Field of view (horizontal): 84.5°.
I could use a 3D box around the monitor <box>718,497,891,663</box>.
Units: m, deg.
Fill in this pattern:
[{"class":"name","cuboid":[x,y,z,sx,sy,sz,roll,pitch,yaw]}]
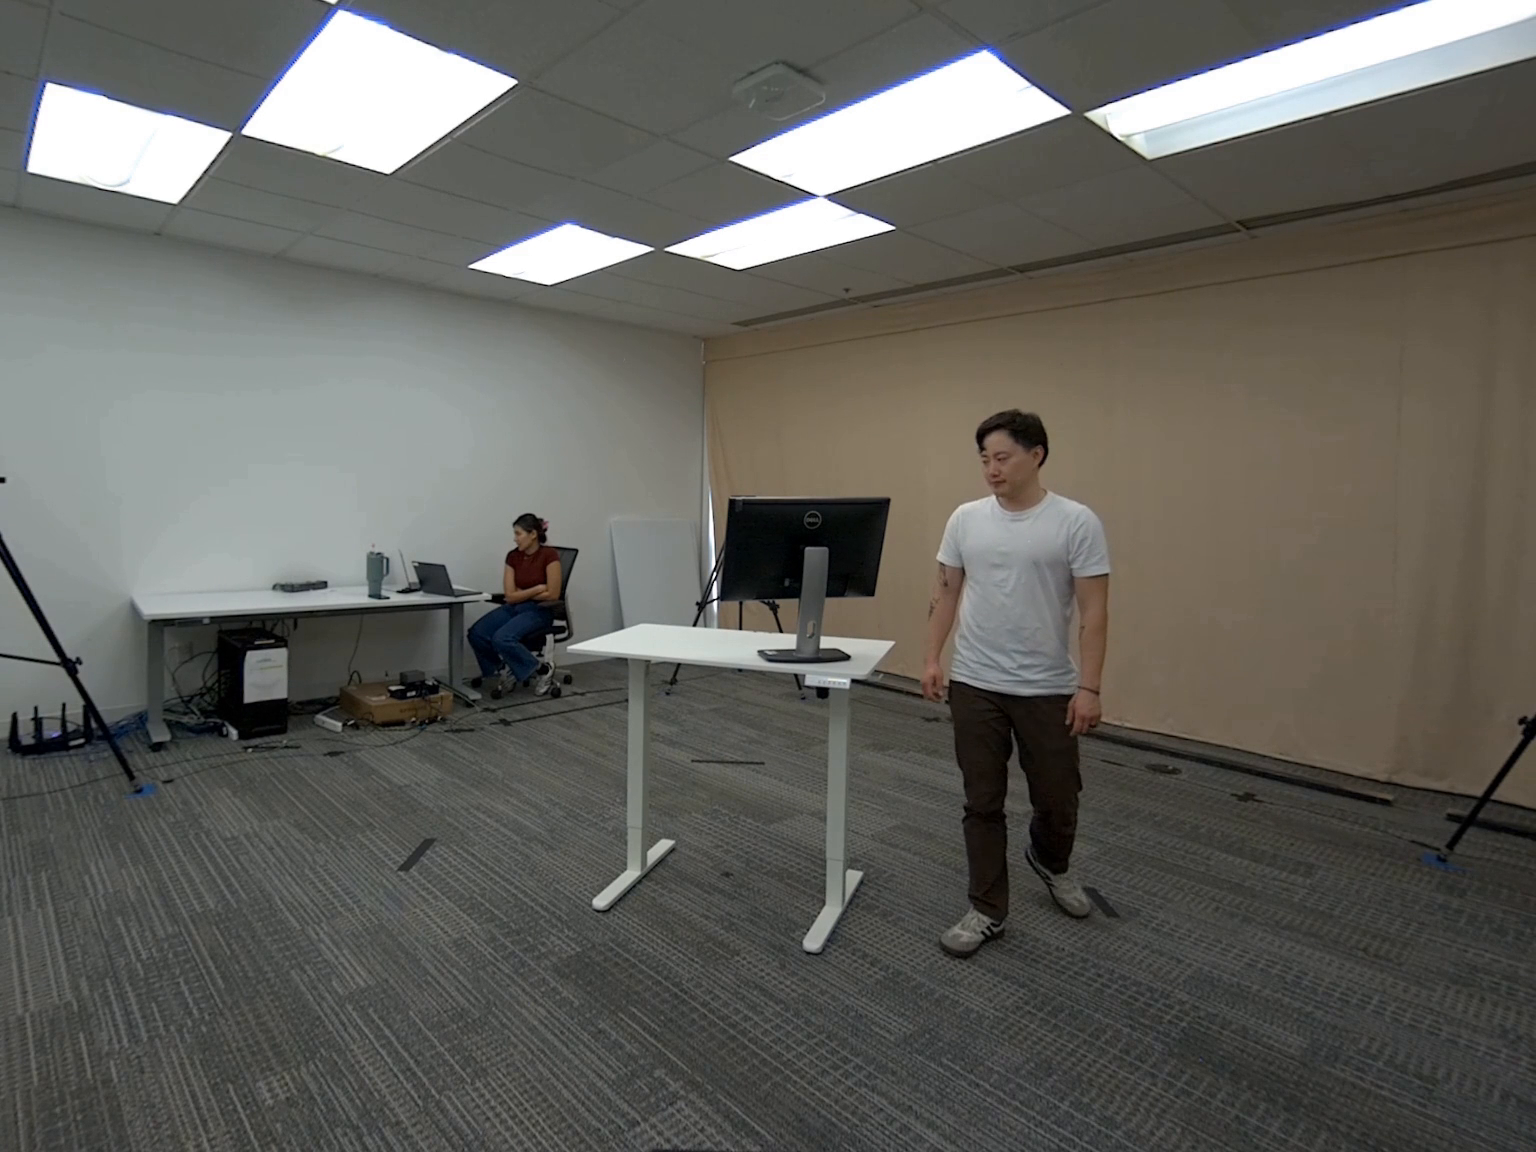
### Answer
[{"class":"monitor","cuboid":[0.122,0.011,2.668,0.532,0.520,0.190,-1,6,-18]}]
